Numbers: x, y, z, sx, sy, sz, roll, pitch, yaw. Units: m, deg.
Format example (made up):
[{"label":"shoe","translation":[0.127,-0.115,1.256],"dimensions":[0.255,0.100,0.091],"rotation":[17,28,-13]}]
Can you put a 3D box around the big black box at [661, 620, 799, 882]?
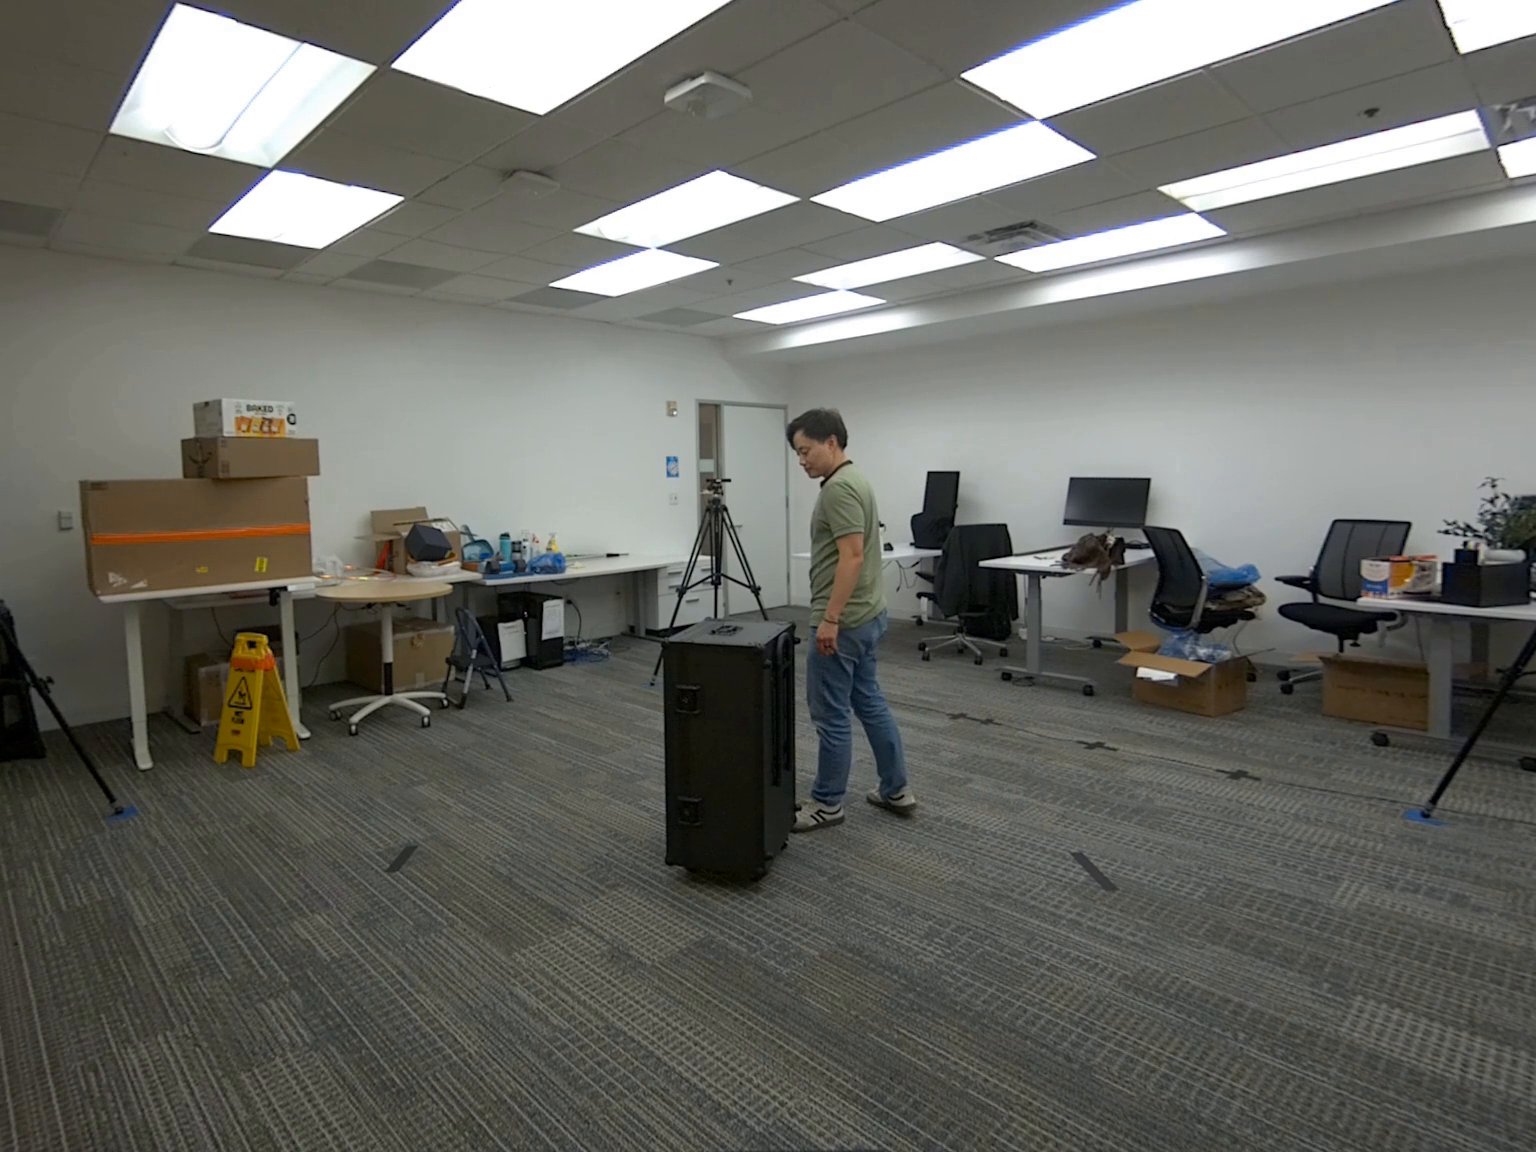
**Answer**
[{"label":"big black box","translation":[-0.118,0.619,3.098],"dimensions":[0.403,0.858,0.515],"rotation":[1,4,16]}]
